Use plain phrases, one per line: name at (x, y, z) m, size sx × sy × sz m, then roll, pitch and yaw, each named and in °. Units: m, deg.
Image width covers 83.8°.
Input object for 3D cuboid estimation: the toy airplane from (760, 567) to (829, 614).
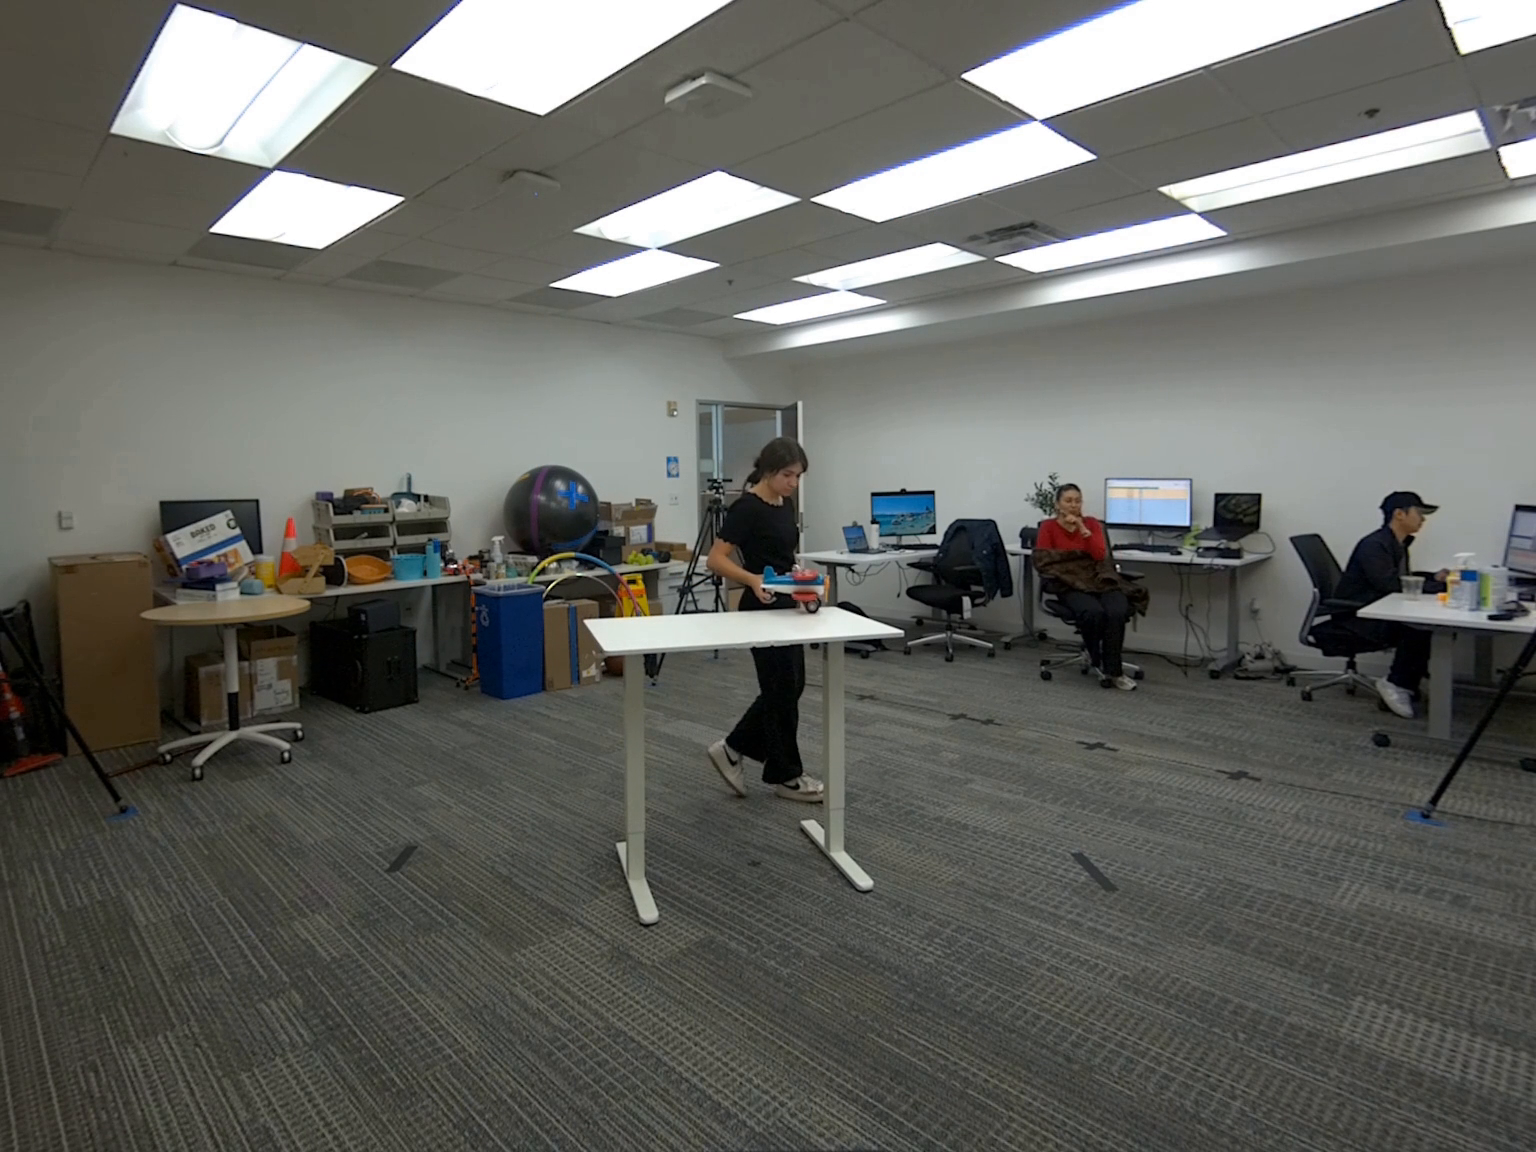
toy airplane at (0.101, 0.048, 3.298) m, size 0.253 × 0.156 × 0.258 m, roll 12°, pitch 8°, yaw -21°
